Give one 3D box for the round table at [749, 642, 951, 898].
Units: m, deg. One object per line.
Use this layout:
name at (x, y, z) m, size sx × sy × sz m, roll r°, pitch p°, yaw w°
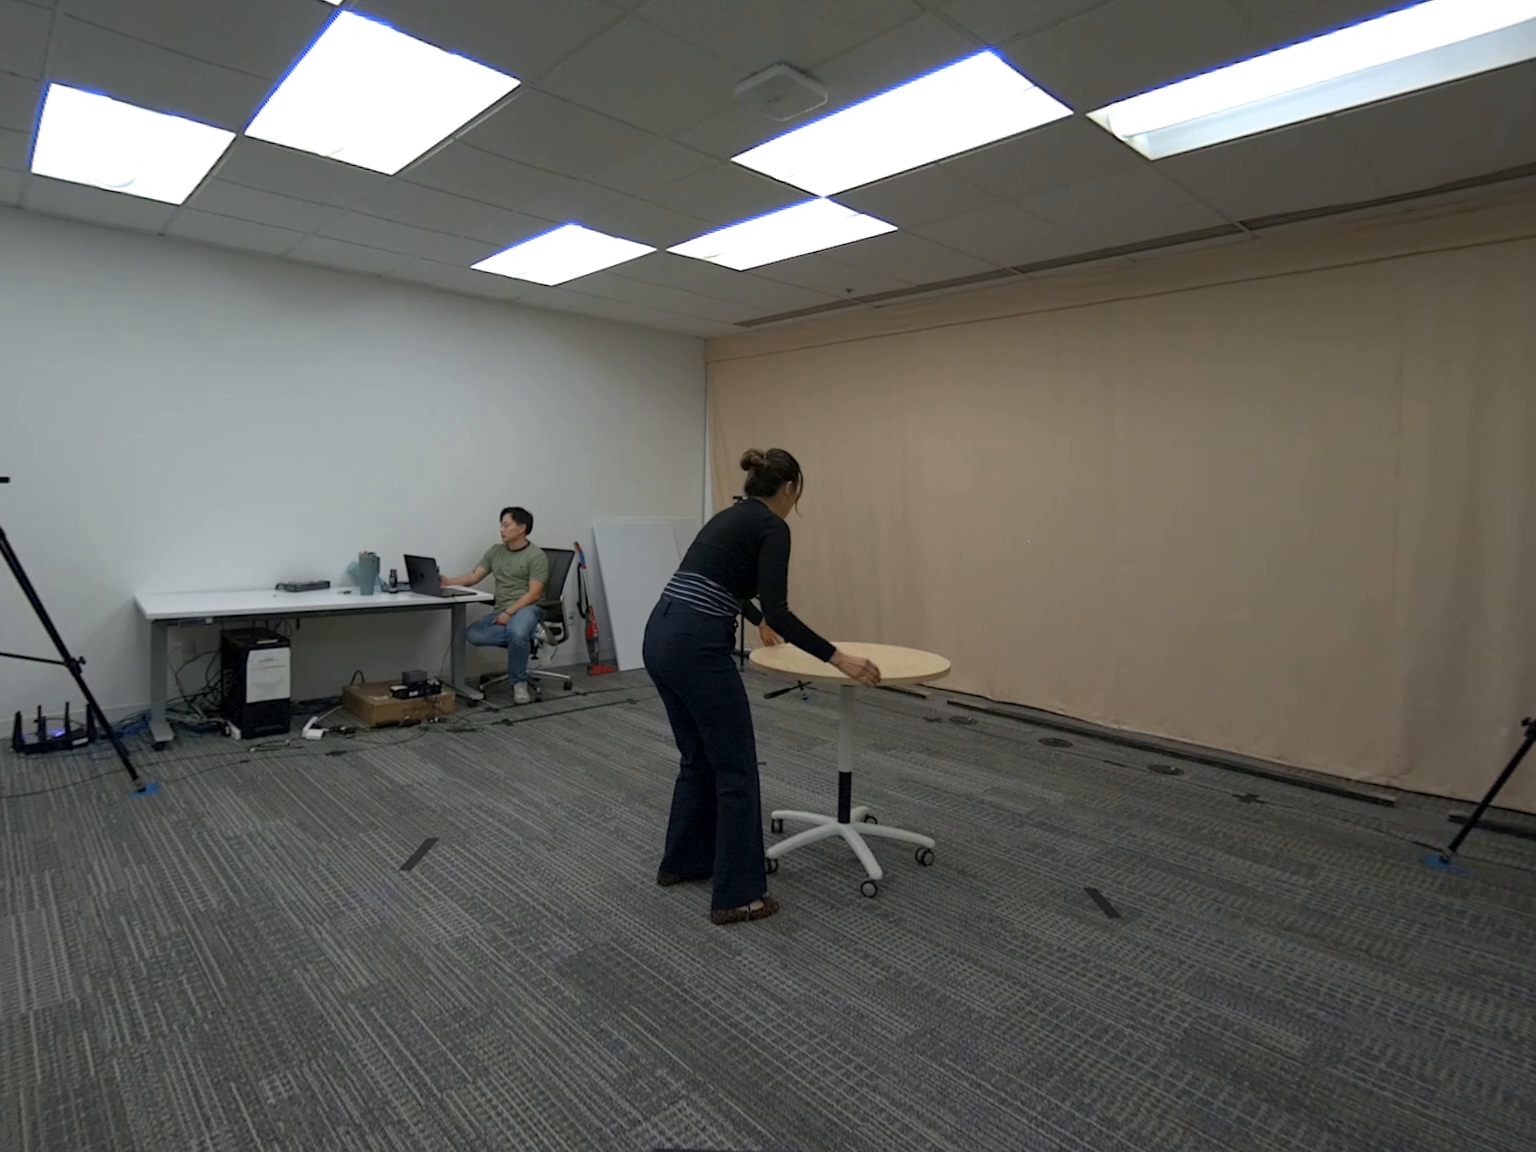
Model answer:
round table at (0.290, 0.708, 3.273) m, size 0.763 × 0.792 × 0.766 m, roll 1°, pitch 3°, yaw -1°
